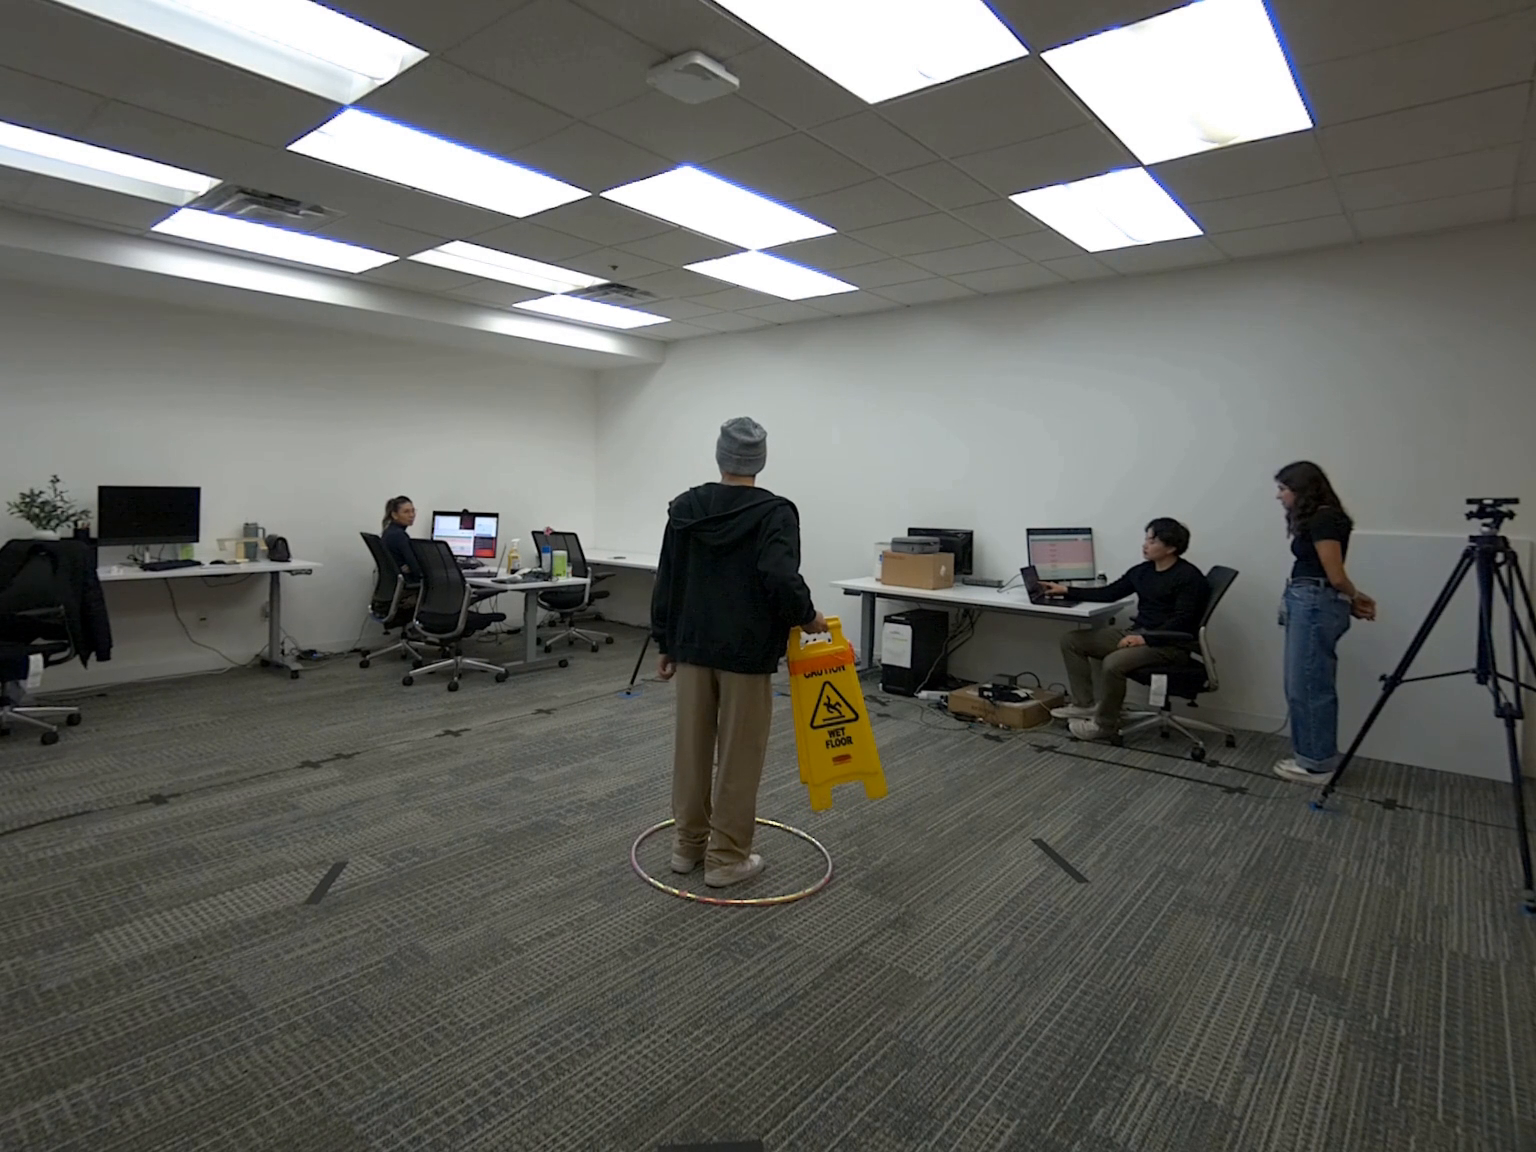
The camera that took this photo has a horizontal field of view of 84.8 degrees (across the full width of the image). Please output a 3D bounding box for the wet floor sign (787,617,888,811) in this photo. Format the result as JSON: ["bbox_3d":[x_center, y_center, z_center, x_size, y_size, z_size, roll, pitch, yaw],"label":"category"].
[{"bbox_3d":[0.206,0.468,3.107,0.281,0.641,0.293,-8,7,-5],"label":"wet floor sign"}]
